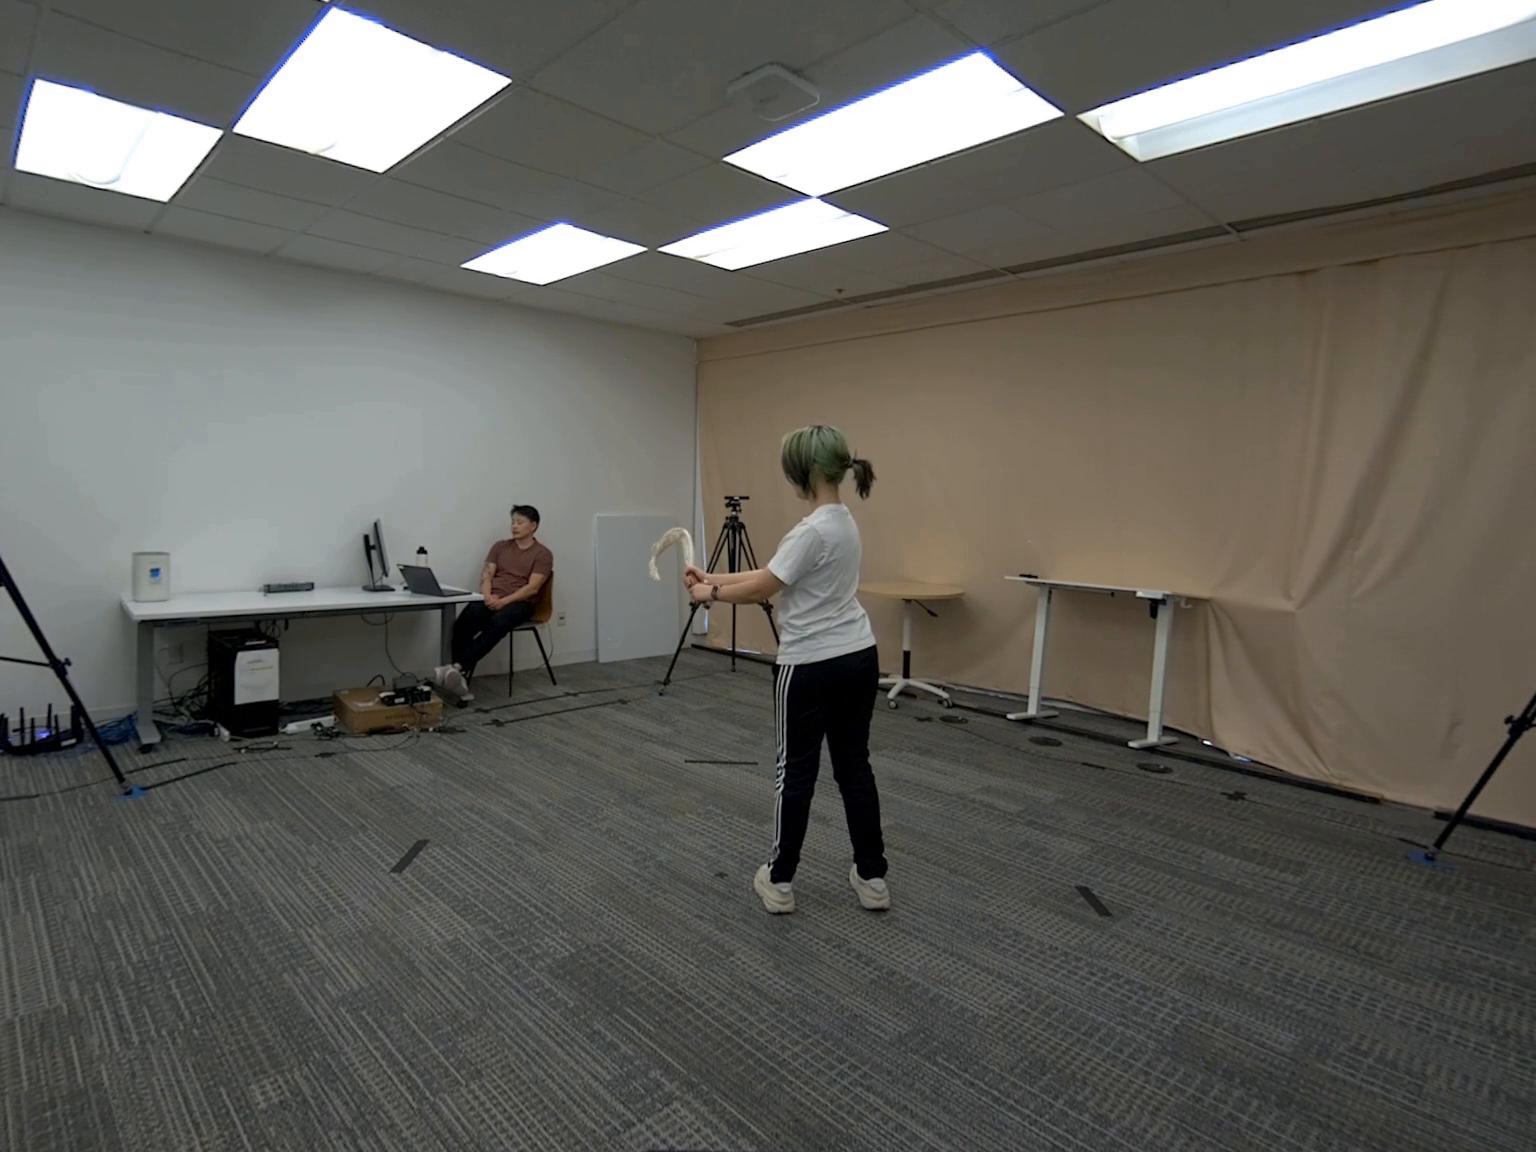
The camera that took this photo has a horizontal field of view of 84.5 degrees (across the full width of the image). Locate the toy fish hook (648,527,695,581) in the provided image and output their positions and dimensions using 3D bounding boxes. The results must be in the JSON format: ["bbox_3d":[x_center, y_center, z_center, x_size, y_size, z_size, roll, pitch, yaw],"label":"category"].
[{"bbox_3d":[-0.345,-0.001,3.200,0.047,0.224,0.522,33,17,-38],"label":"toy fish hook"}]
